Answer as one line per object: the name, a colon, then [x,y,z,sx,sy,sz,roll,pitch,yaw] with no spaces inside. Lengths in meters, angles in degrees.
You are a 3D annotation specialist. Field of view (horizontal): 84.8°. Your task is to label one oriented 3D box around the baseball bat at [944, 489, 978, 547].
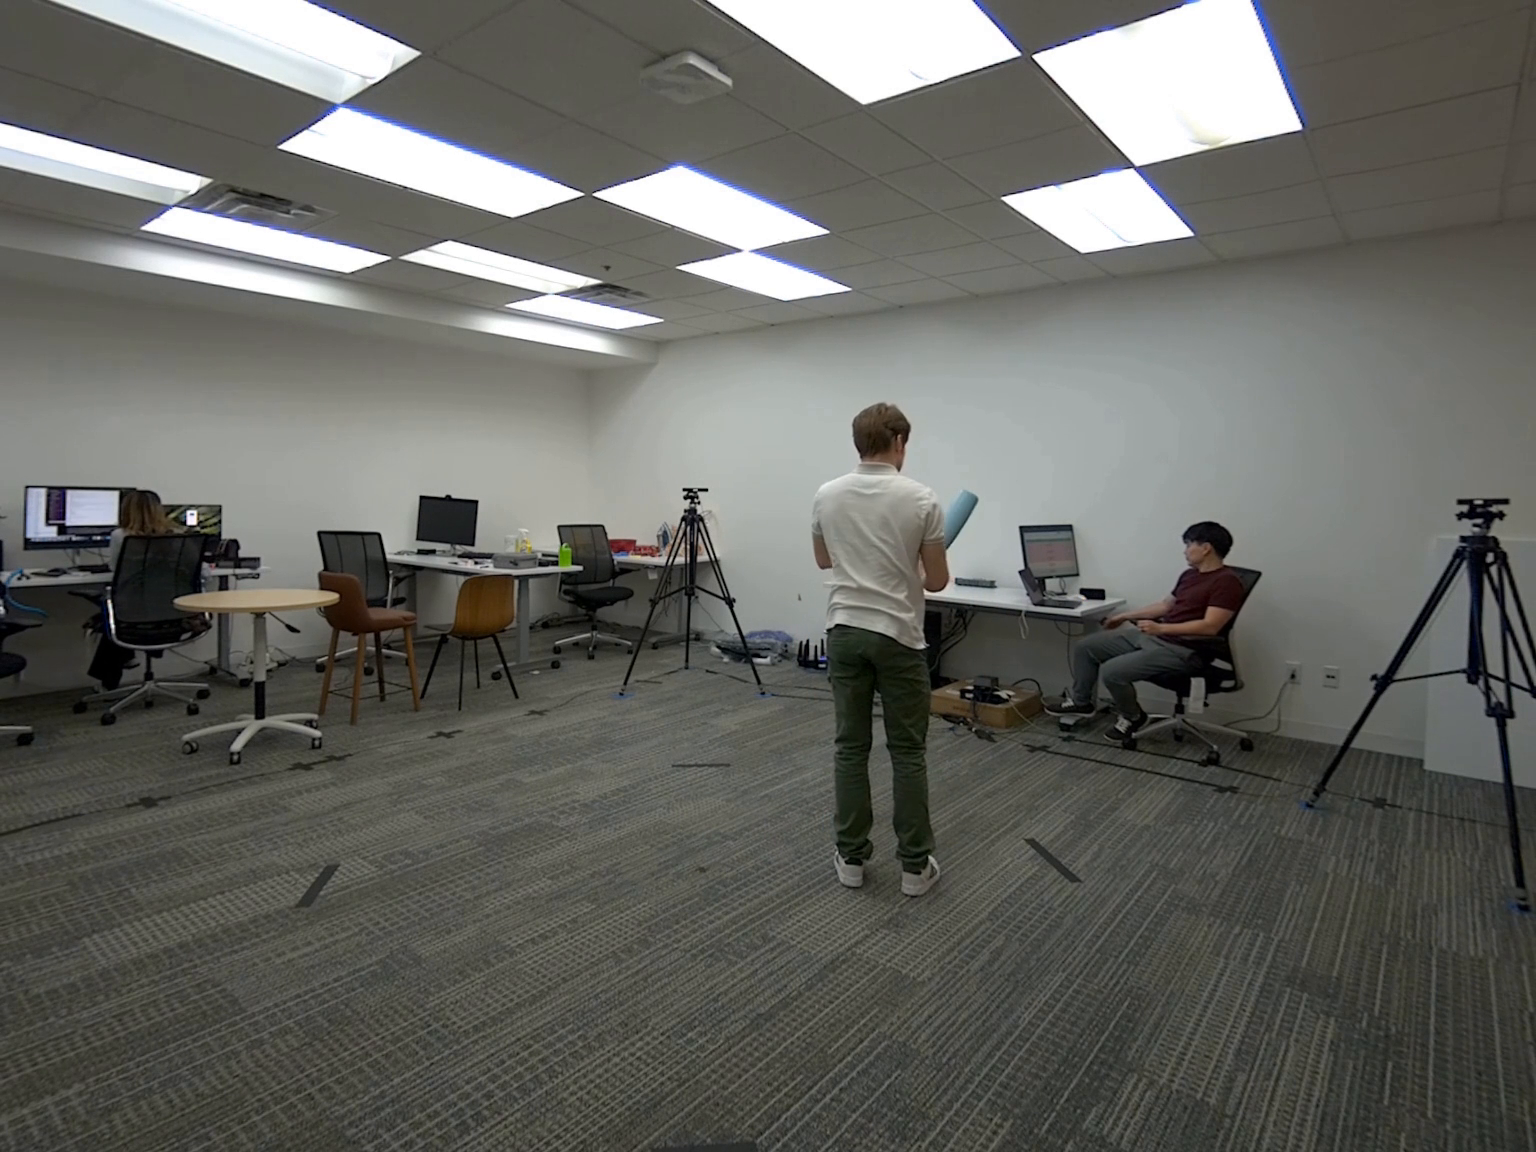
baseball bat: [0.649,-0.096,3.347,0.089,0.544,0.088,32,-8,2]
